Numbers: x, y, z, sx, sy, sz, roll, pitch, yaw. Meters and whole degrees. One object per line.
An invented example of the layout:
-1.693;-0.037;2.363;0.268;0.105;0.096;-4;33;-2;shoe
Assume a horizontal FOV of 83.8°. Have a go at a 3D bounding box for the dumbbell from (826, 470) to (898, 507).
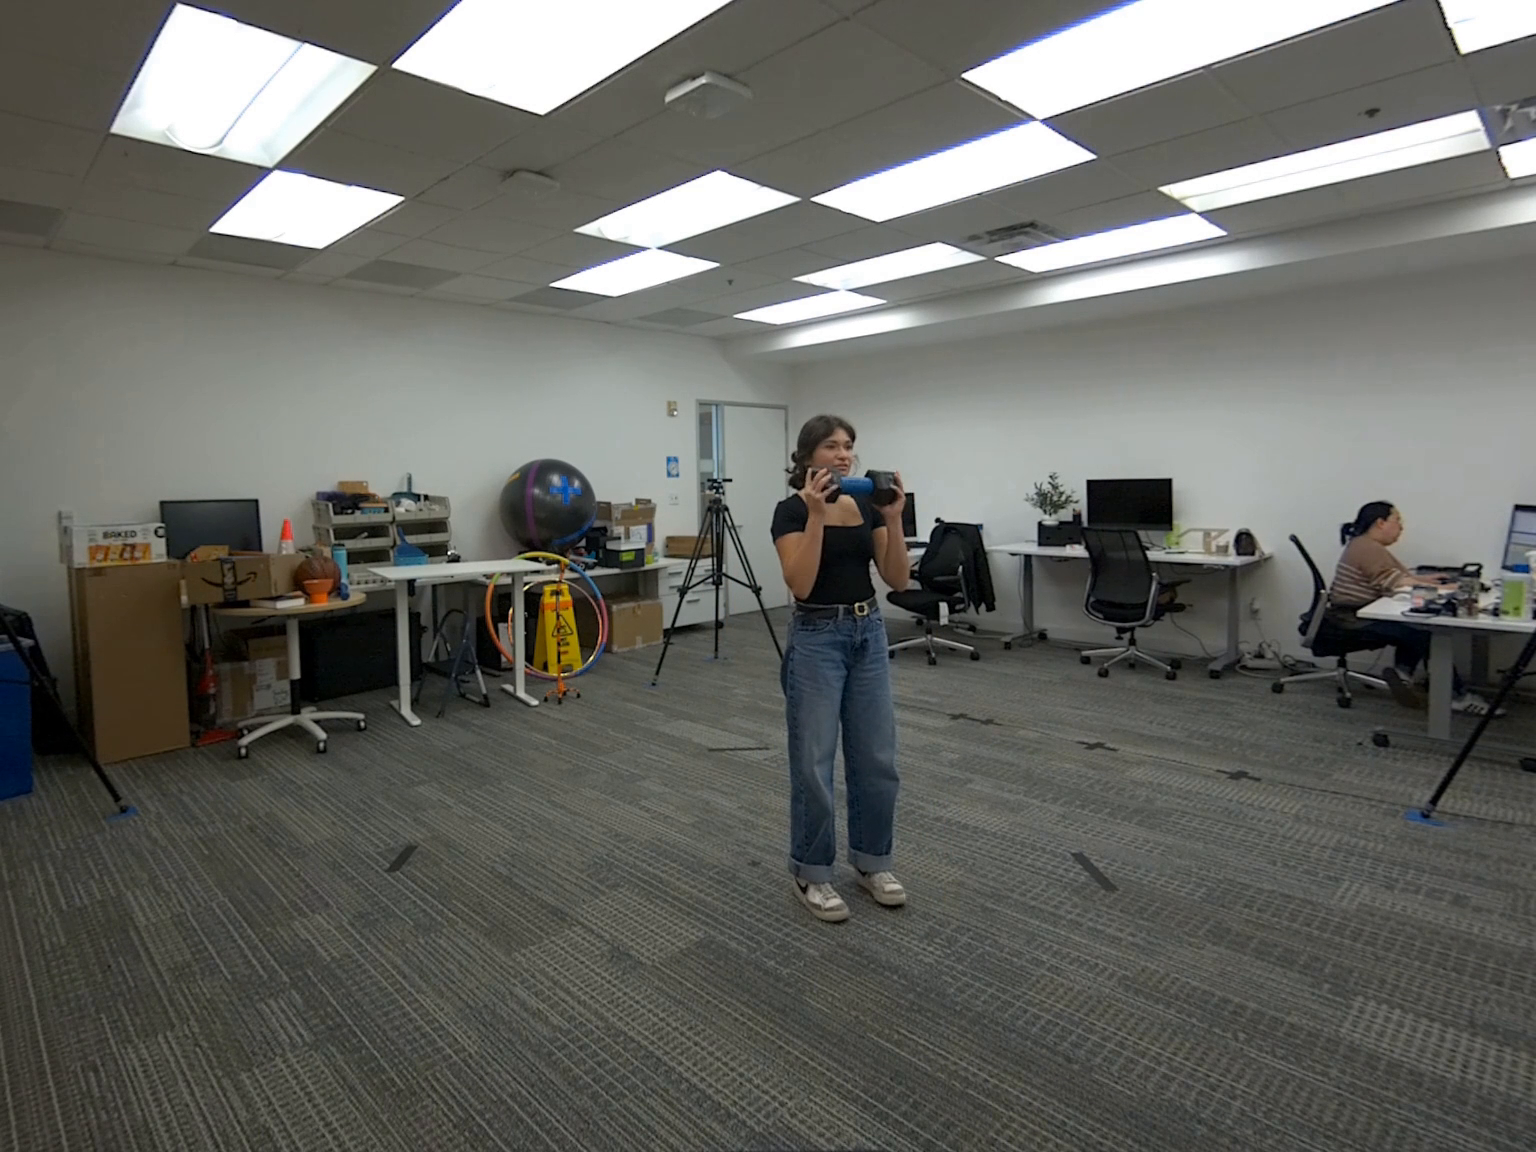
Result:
0.269;-0.288;2.707;0.287;0.121;0.113;0;42;-25;dumbbell
